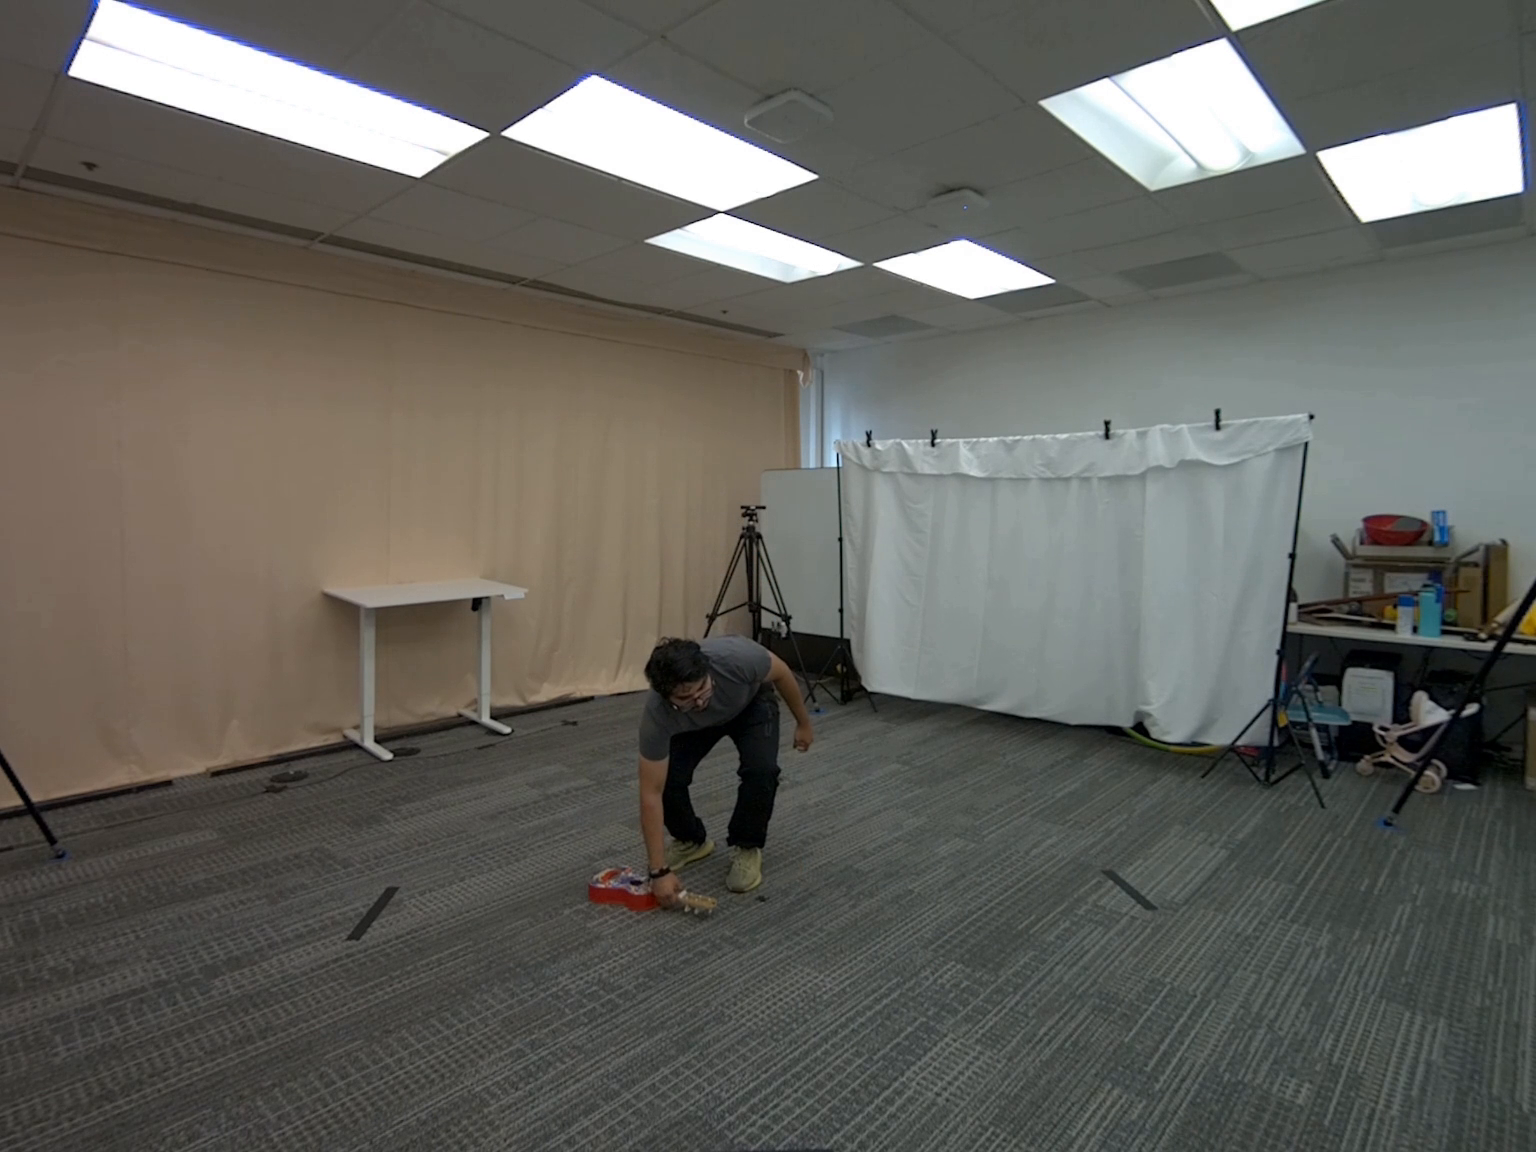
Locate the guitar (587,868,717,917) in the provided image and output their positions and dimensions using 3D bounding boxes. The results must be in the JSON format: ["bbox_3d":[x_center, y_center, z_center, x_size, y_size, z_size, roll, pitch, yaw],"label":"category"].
[{"bbox_3d":[-0.413,1.114,2.928,0.514,0.070,0.187,2,6,38],"label":"guitar"}]
